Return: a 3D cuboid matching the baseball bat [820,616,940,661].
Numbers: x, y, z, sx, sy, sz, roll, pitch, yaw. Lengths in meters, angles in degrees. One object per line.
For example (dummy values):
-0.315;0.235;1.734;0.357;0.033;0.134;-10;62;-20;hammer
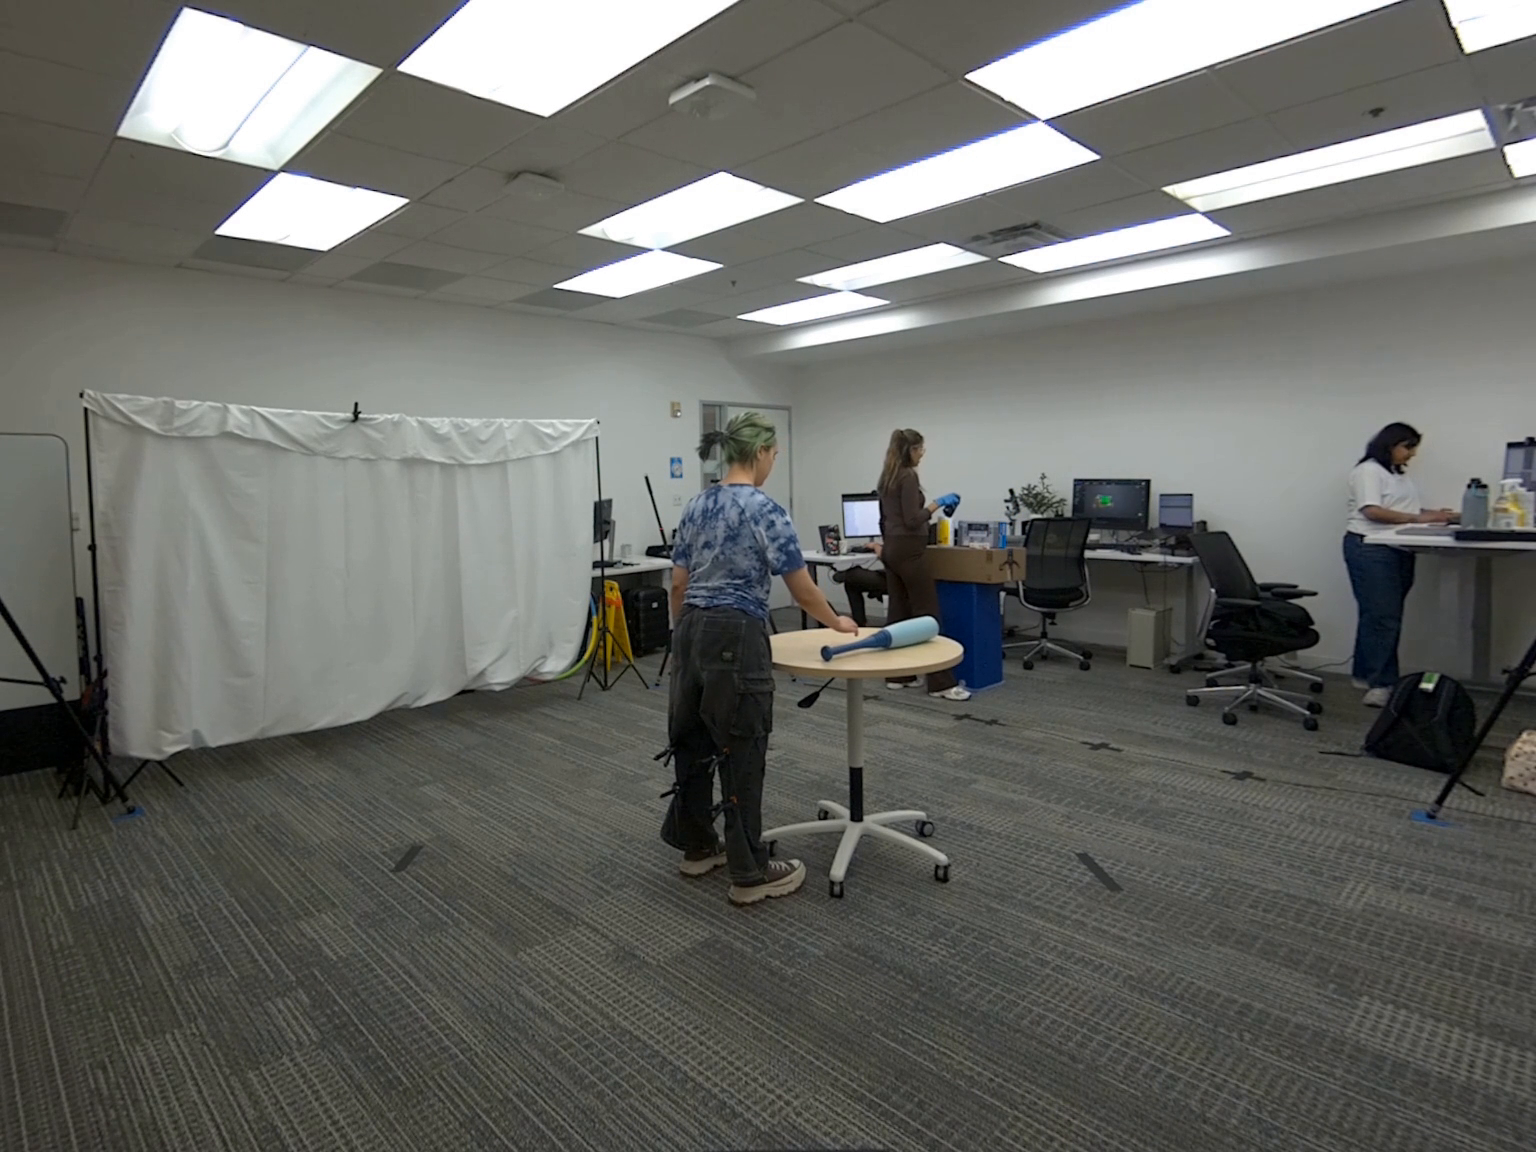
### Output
0.400;0.230;3.013;0.530;0.088;0.092;-10;9;-36;baseball bat
